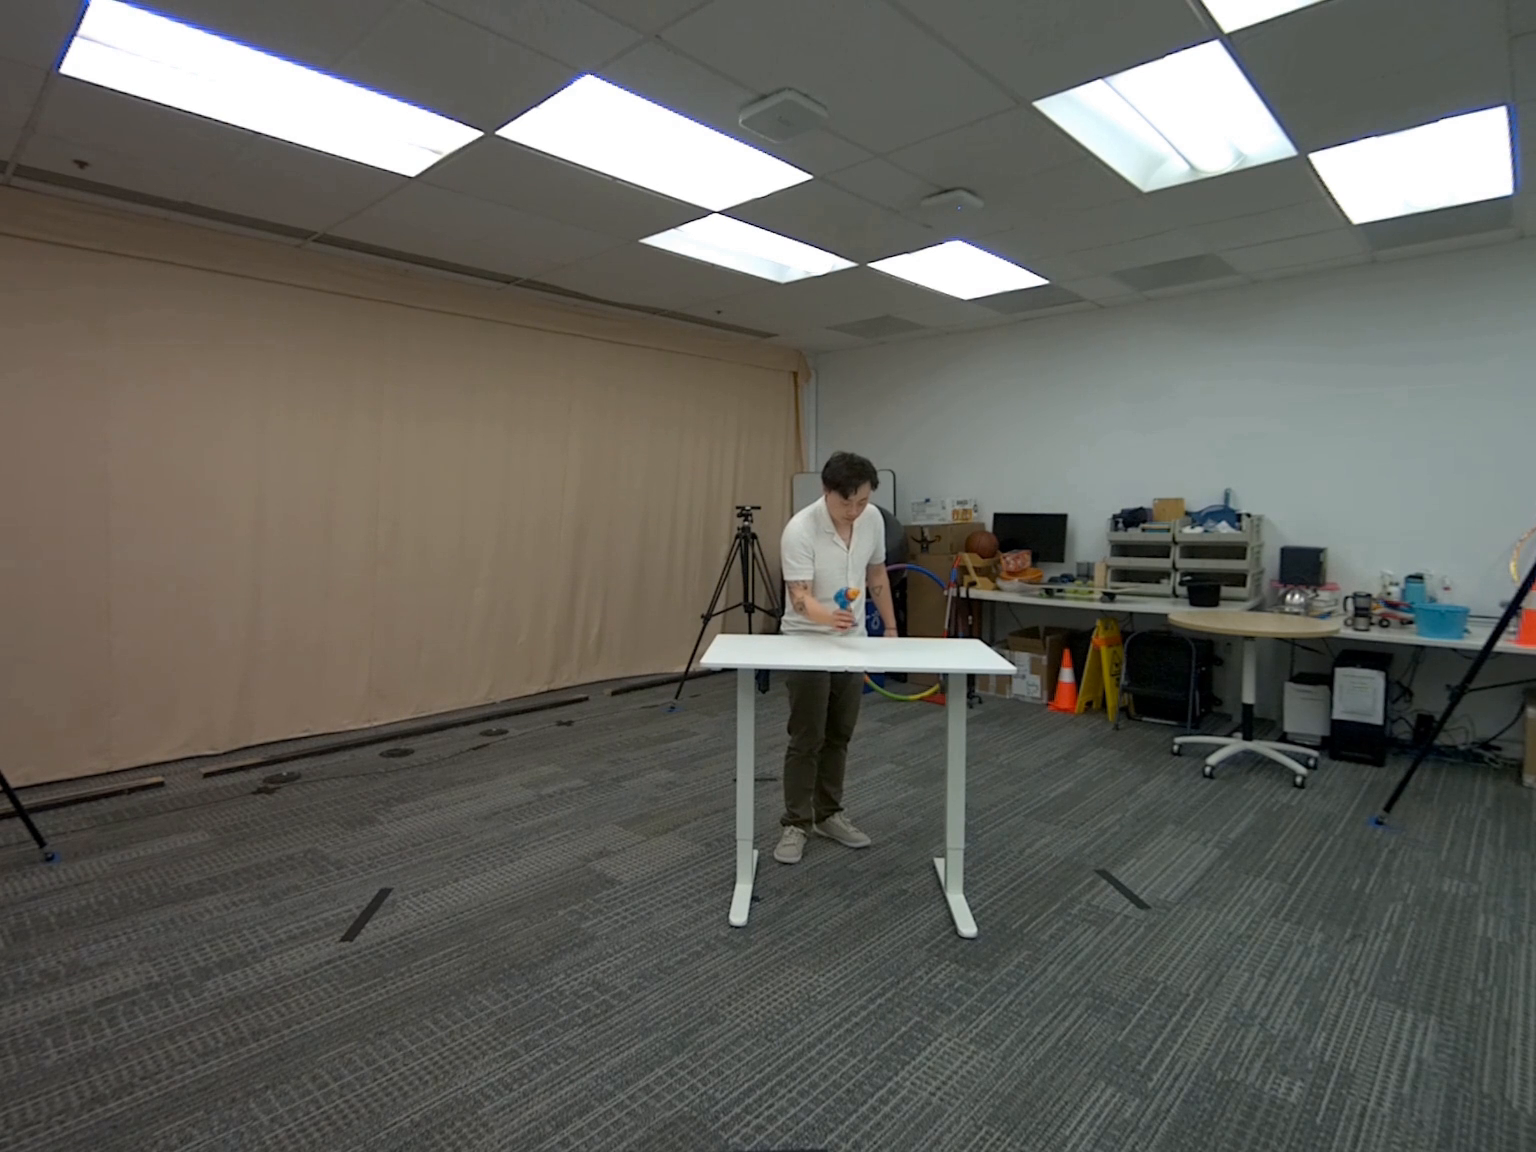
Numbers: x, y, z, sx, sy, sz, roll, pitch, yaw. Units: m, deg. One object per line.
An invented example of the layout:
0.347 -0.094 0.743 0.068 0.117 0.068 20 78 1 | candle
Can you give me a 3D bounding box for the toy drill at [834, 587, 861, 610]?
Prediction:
0.289 0.100 2.973 0.060 0.147 0.172 -4 -8 -24 | toy drill
